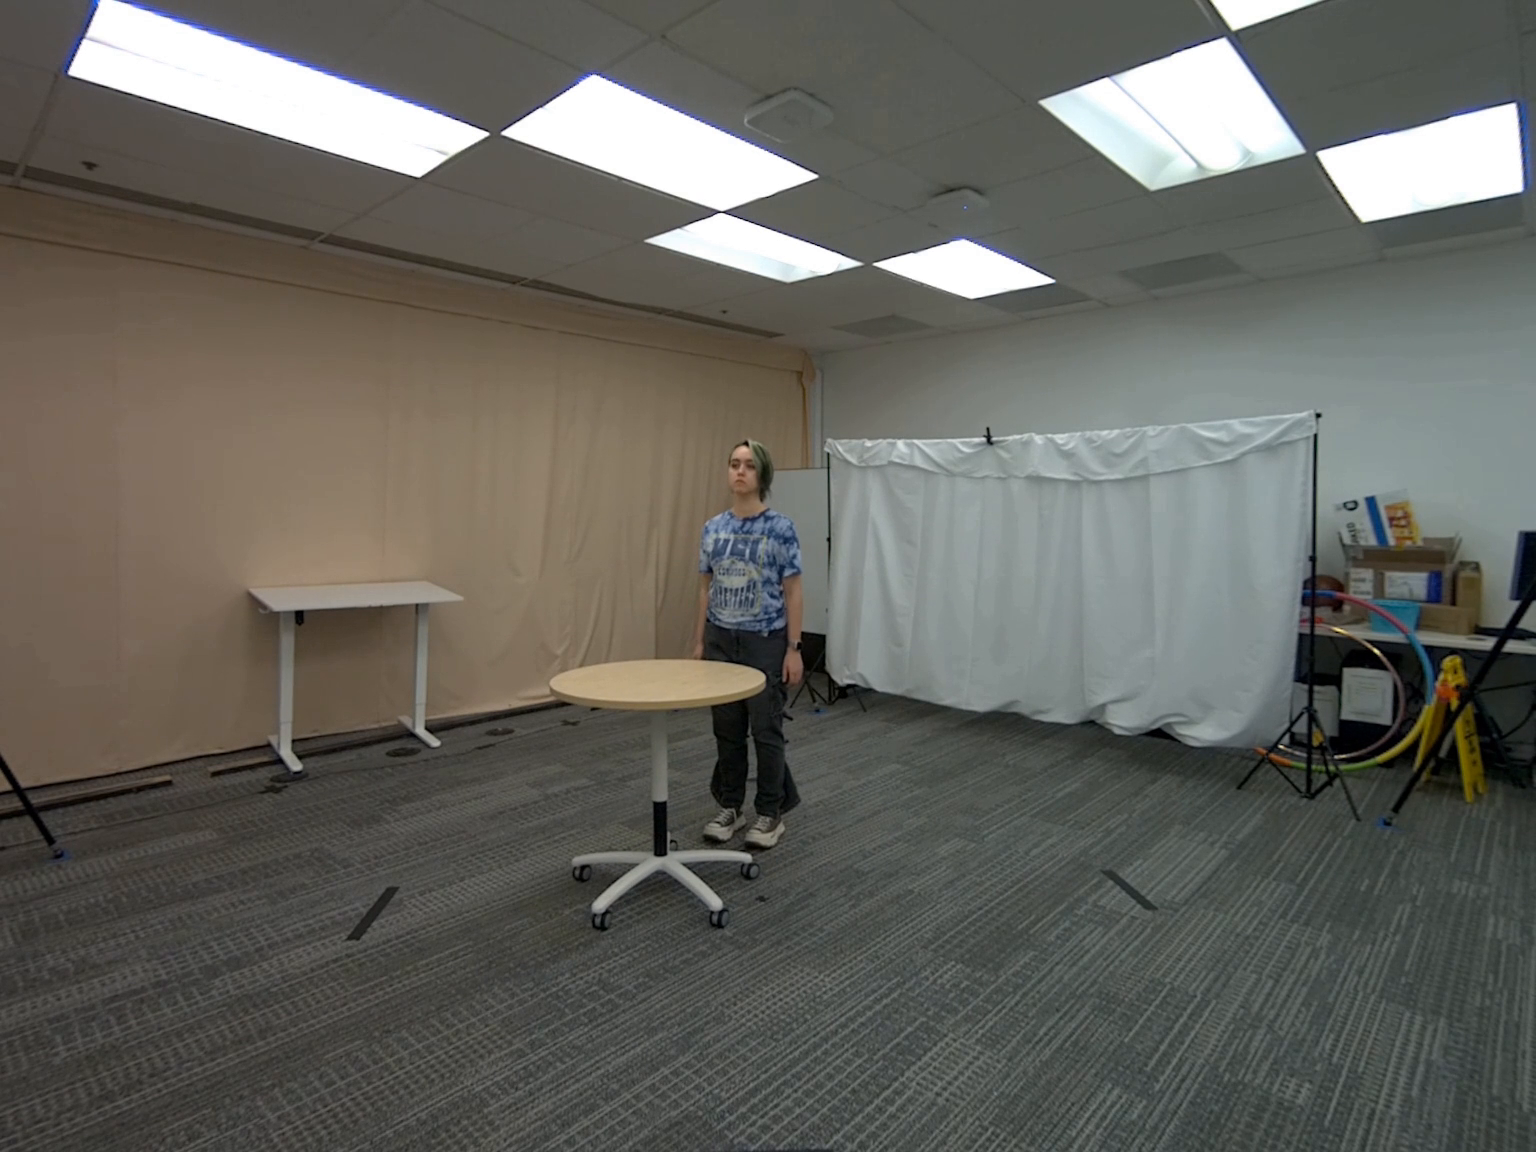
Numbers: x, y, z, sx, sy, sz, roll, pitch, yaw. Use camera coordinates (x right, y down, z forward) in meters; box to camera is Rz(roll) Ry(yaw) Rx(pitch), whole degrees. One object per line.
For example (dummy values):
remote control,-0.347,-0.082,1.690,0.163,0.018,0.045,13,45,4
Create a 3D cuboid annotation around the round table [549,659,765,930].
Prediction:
round table,-0.392,0.760,3.019,0.763,0.792,0.766,-1,3,-2
